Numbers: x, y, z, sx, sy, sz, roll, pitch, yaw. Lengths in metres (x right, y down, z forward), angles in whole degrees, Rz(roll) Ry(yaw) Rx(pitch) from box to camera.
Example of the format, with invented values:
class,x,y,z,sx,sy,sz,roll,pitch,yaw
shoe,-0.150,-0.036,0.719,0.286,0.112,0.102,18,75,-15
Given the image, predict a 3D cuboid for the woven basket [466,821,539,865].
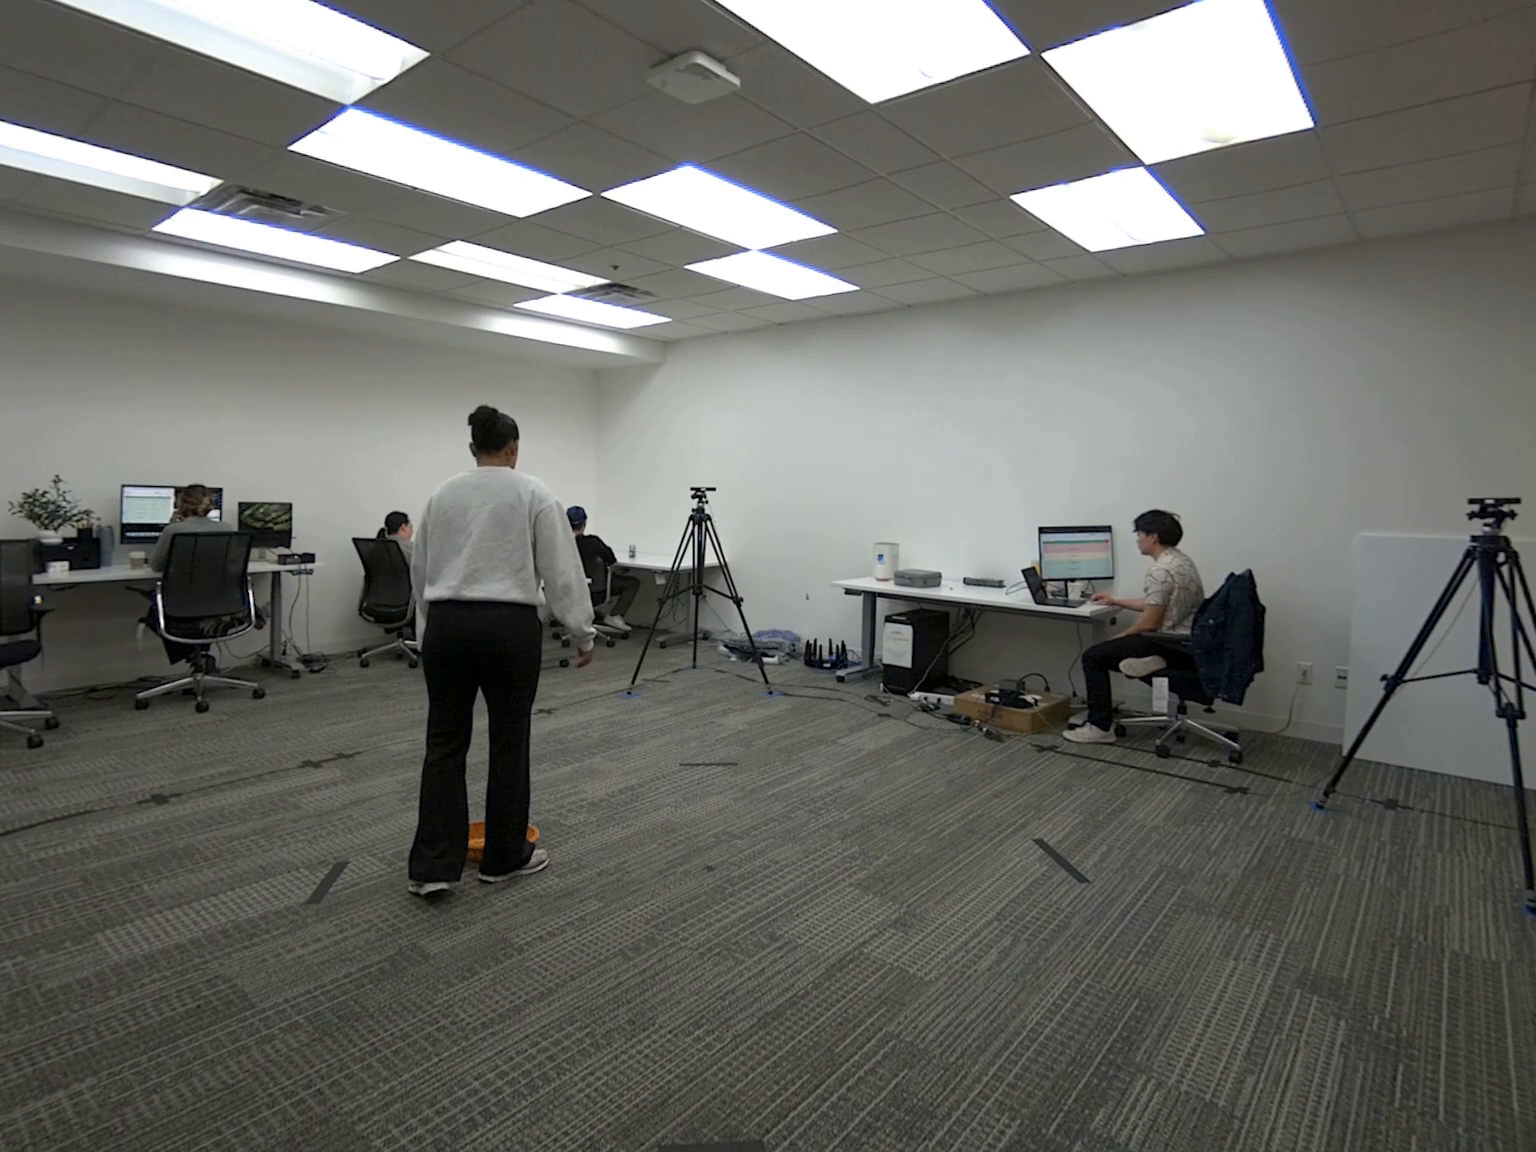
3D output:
class,x,y,z,sx,sy,sz,roll,pitch,yaw
woven basket,-1.049,1.001,3.211,0.355,0.073,0.250,3,6,12
